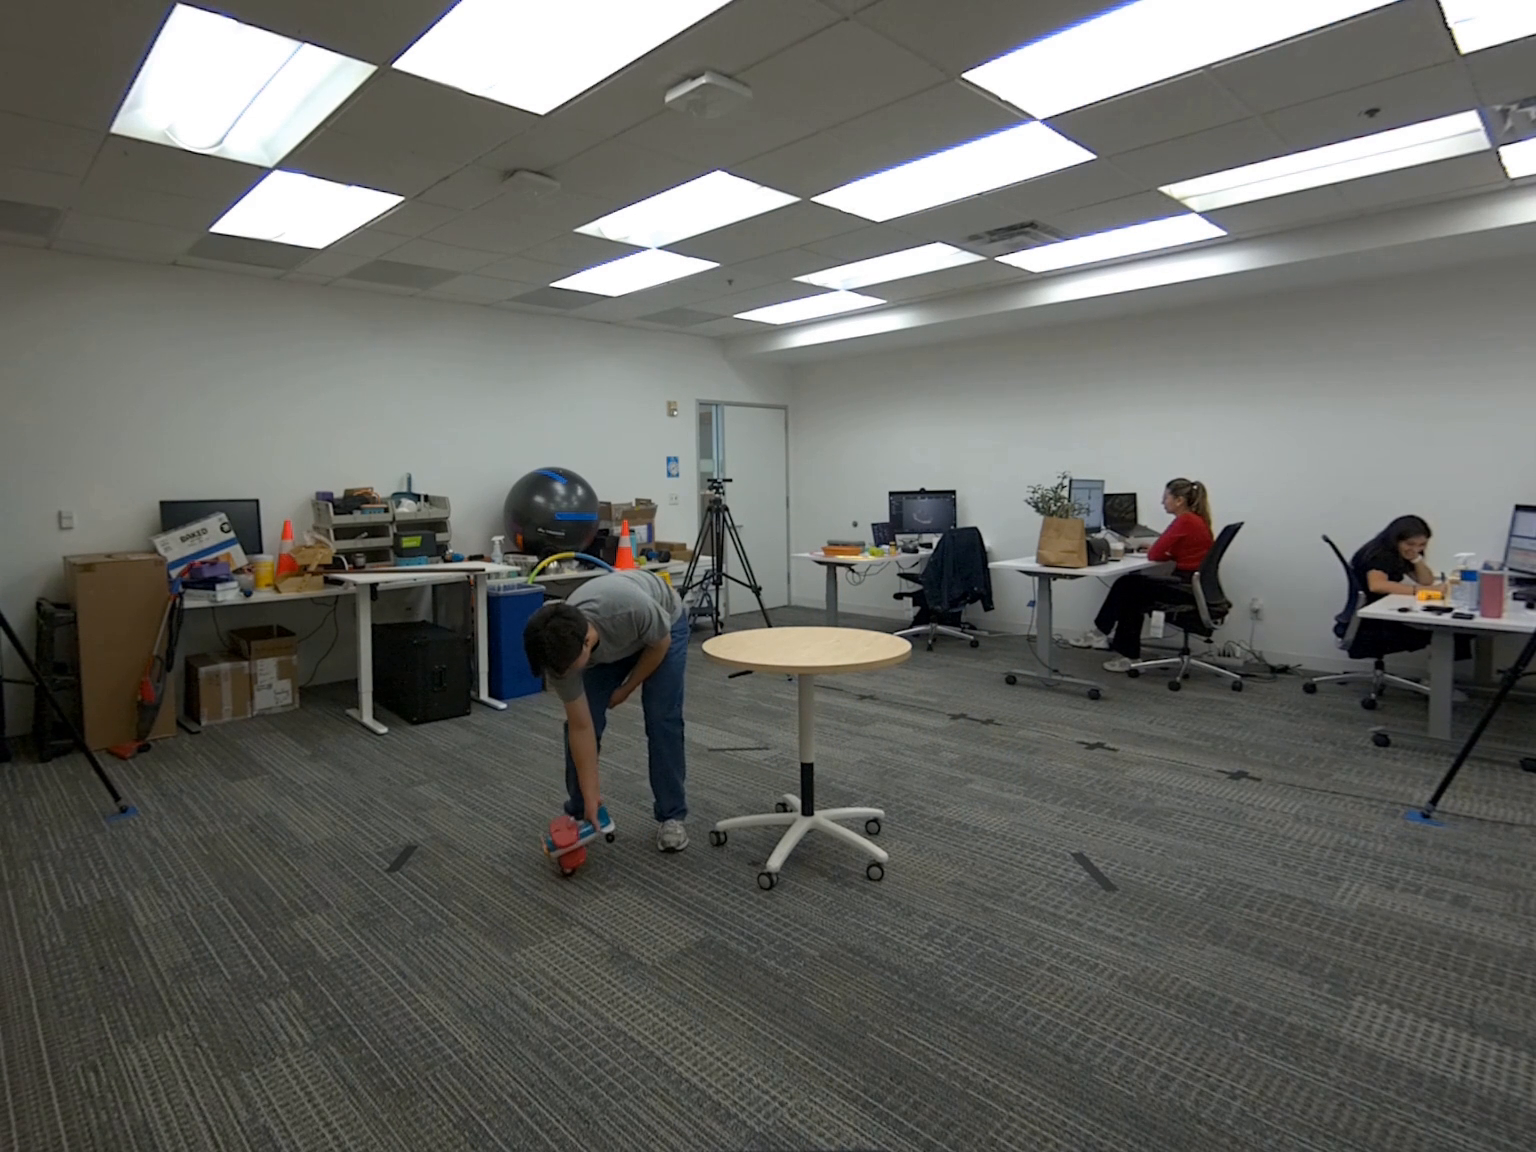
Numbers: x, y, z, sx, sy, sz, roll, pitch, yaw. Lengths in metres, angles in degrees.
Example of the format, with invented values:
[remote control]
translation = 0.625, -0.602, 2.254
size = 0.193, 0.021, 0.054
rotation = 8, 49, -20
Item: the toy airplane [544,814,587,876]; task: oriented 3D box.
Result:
[toy airplane]
translation = -0.699, 0.951, 3.098
size = 0.256, 0.154, 0.258
rotation = -13, 22, 46
